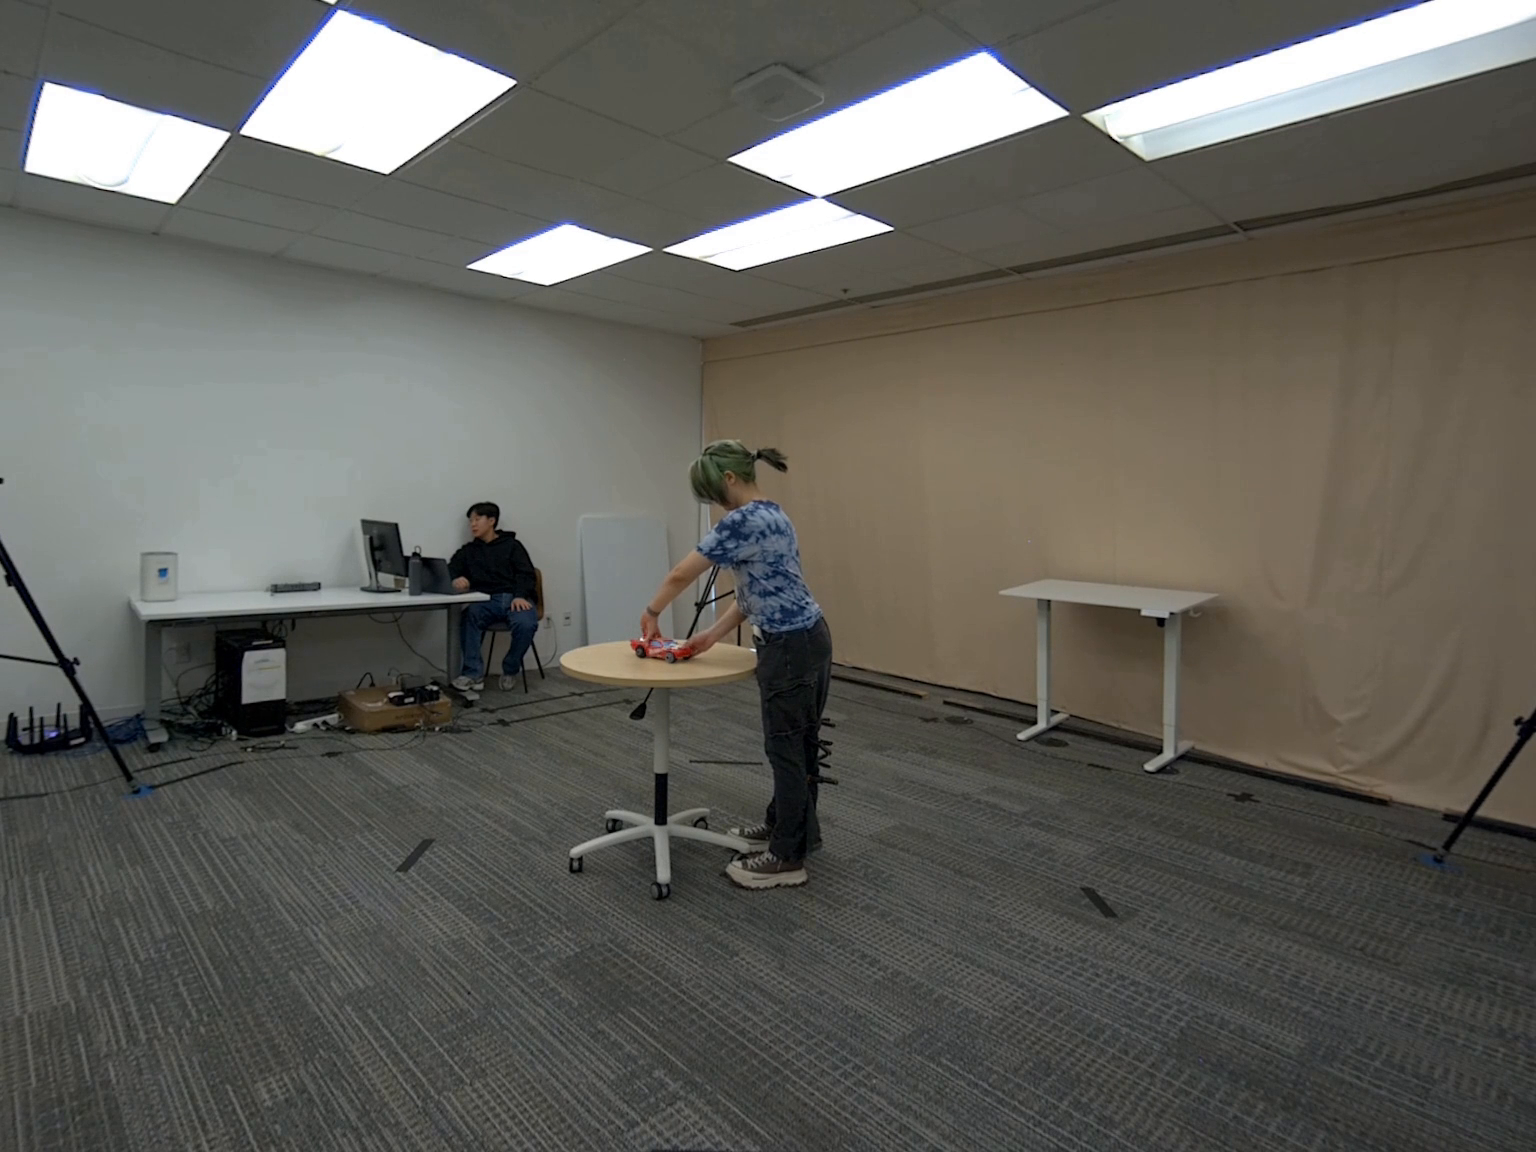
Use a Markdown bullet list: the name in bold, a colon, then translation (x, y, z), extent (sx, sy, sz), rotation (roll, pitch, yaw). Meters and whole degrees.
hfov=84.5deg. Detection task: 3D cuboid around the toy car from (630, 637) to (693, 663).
- **toy car**: translation (-0.415, 0.277, 3.168), extent (0.261, 0.083, 0.127), rotation (17, 13, 33)
